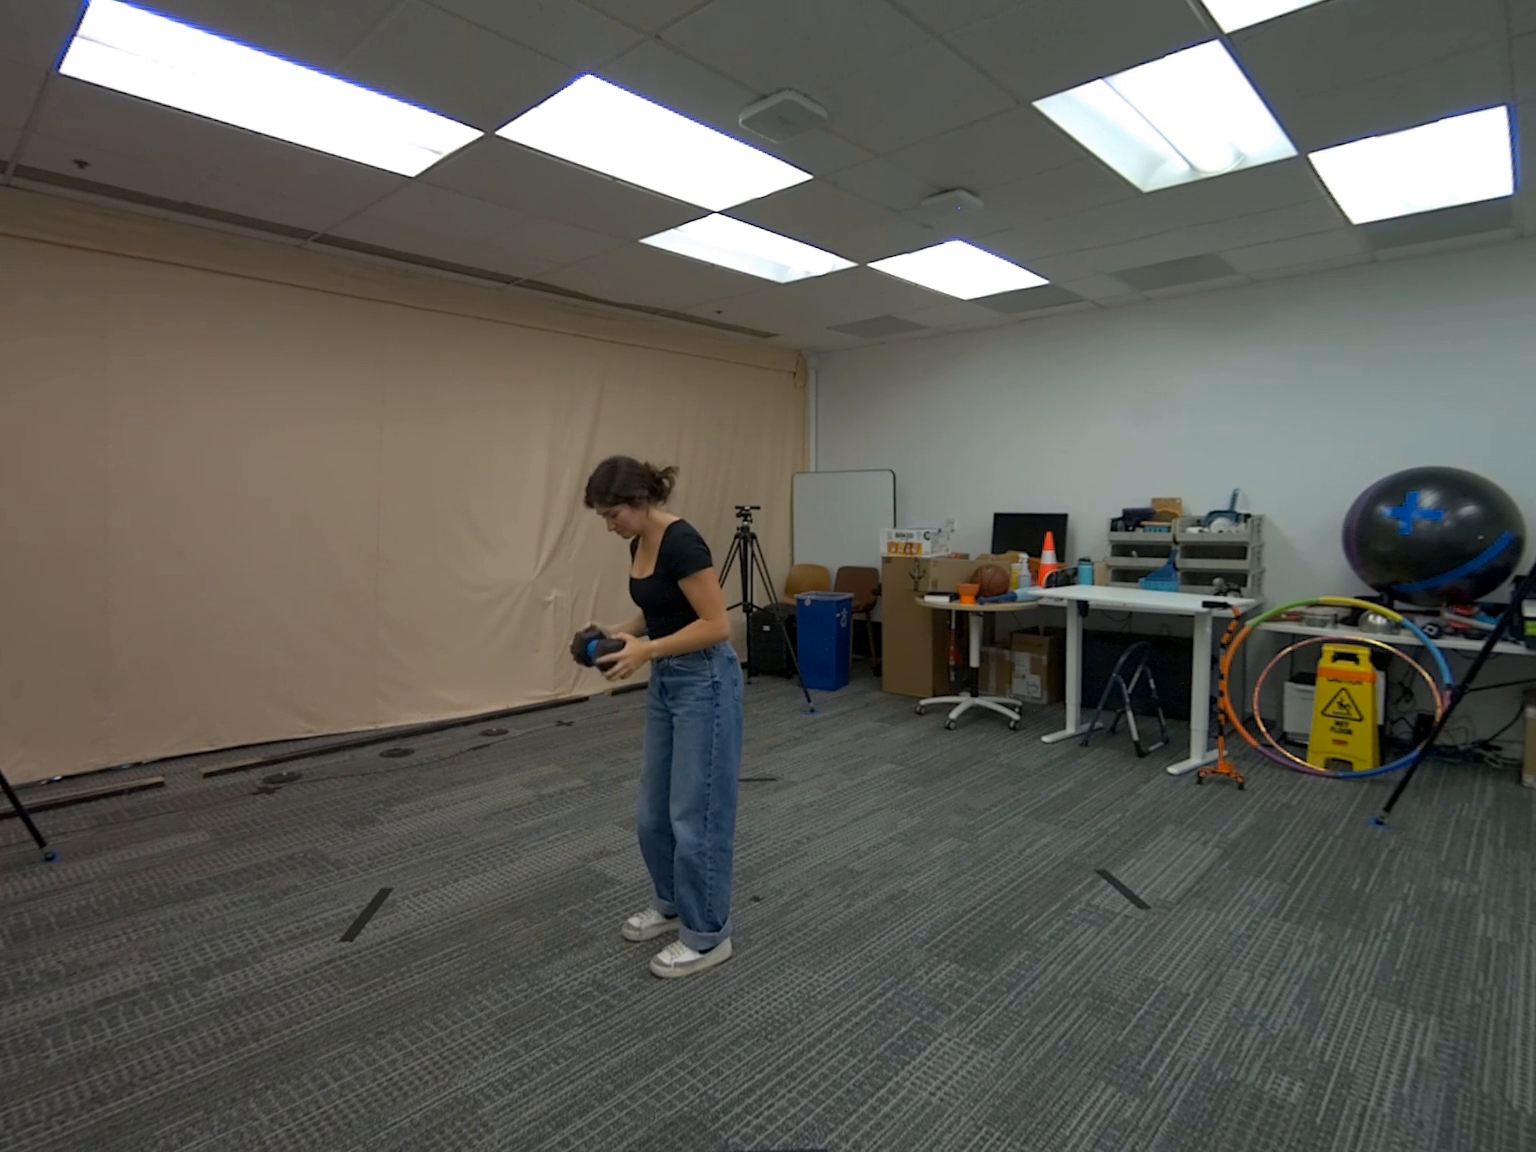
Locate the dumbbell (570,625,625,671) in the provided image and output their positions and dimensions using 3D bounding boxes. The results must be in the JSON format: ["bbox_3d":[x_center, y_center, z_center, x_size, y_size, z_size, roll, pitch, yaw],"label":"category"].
[{"bbox_3d":[-0.490,0.236,2.560,0.105,0.123,0.302,17,-5,-29],"label":"dumbbell"}]
